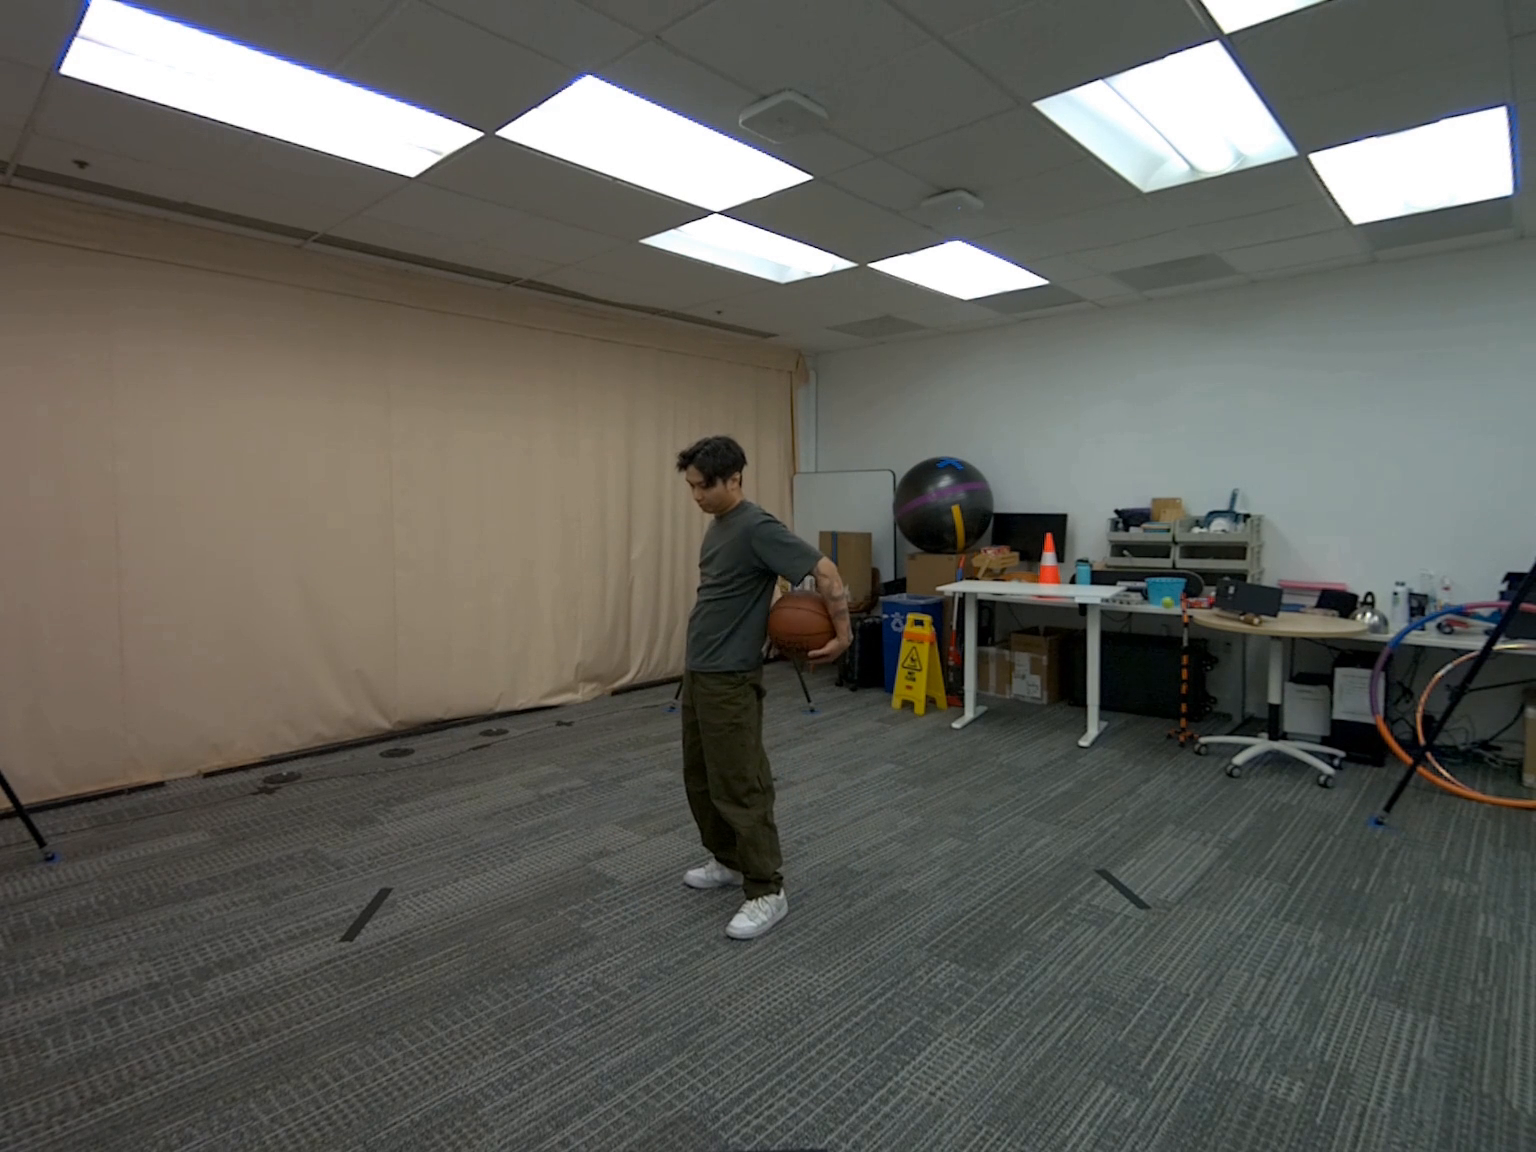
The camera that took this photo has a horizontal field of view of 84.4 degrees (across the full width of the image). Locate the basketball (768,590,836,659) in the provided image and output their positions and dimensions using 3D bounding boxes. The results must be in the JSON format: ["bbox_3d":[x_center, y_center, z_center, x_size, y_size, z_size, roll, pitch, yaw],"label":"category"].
[{"bbox_3d":[0.108,0.169,2.852,0.236,0.235,0.237,0,4,-2],"label":"basketball"}]
